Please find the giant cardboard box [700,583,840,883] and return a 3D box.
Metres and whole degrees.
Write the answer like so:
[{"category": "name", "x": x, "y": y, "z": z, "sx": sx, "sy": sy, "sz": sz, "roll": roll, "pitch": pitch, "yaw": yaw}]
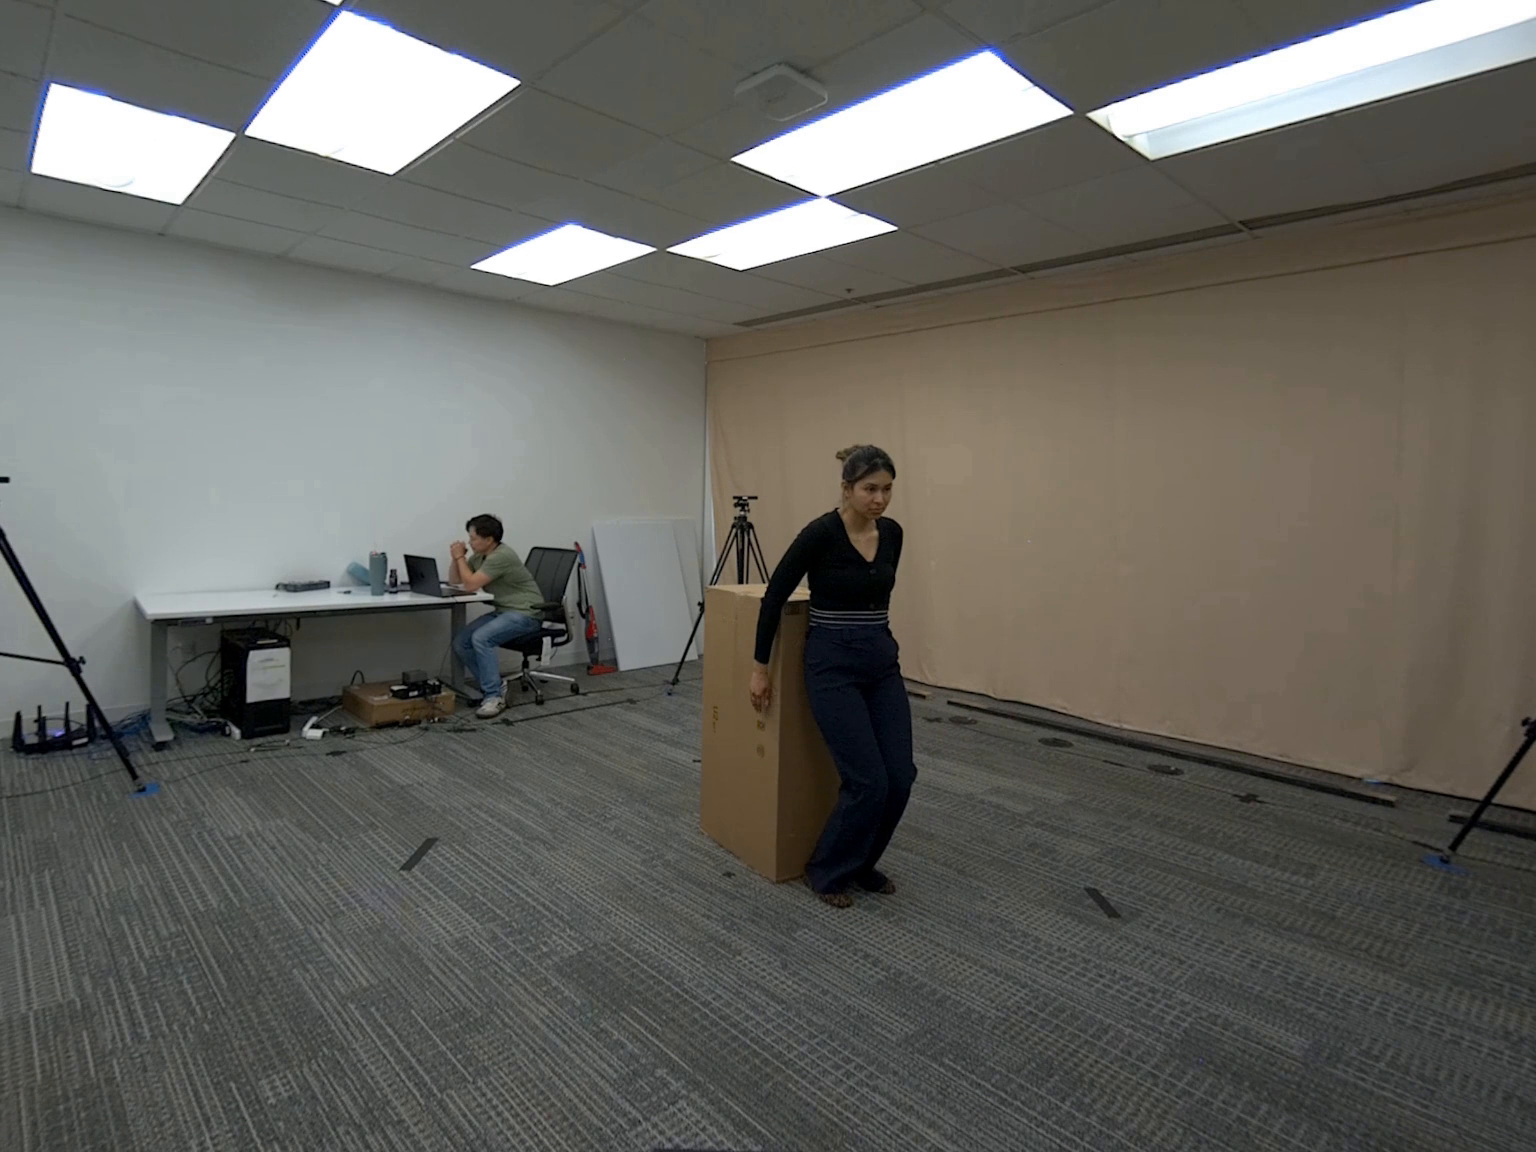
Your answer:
[{"category": "giant cardboard box", "x": 0.046, "y": 0.575, "z": 3.369, "sx": 0.417, "sy": 1.024, "sz": 0.591, "roll": 0, "pitch": 3, "yaw": -32}]
